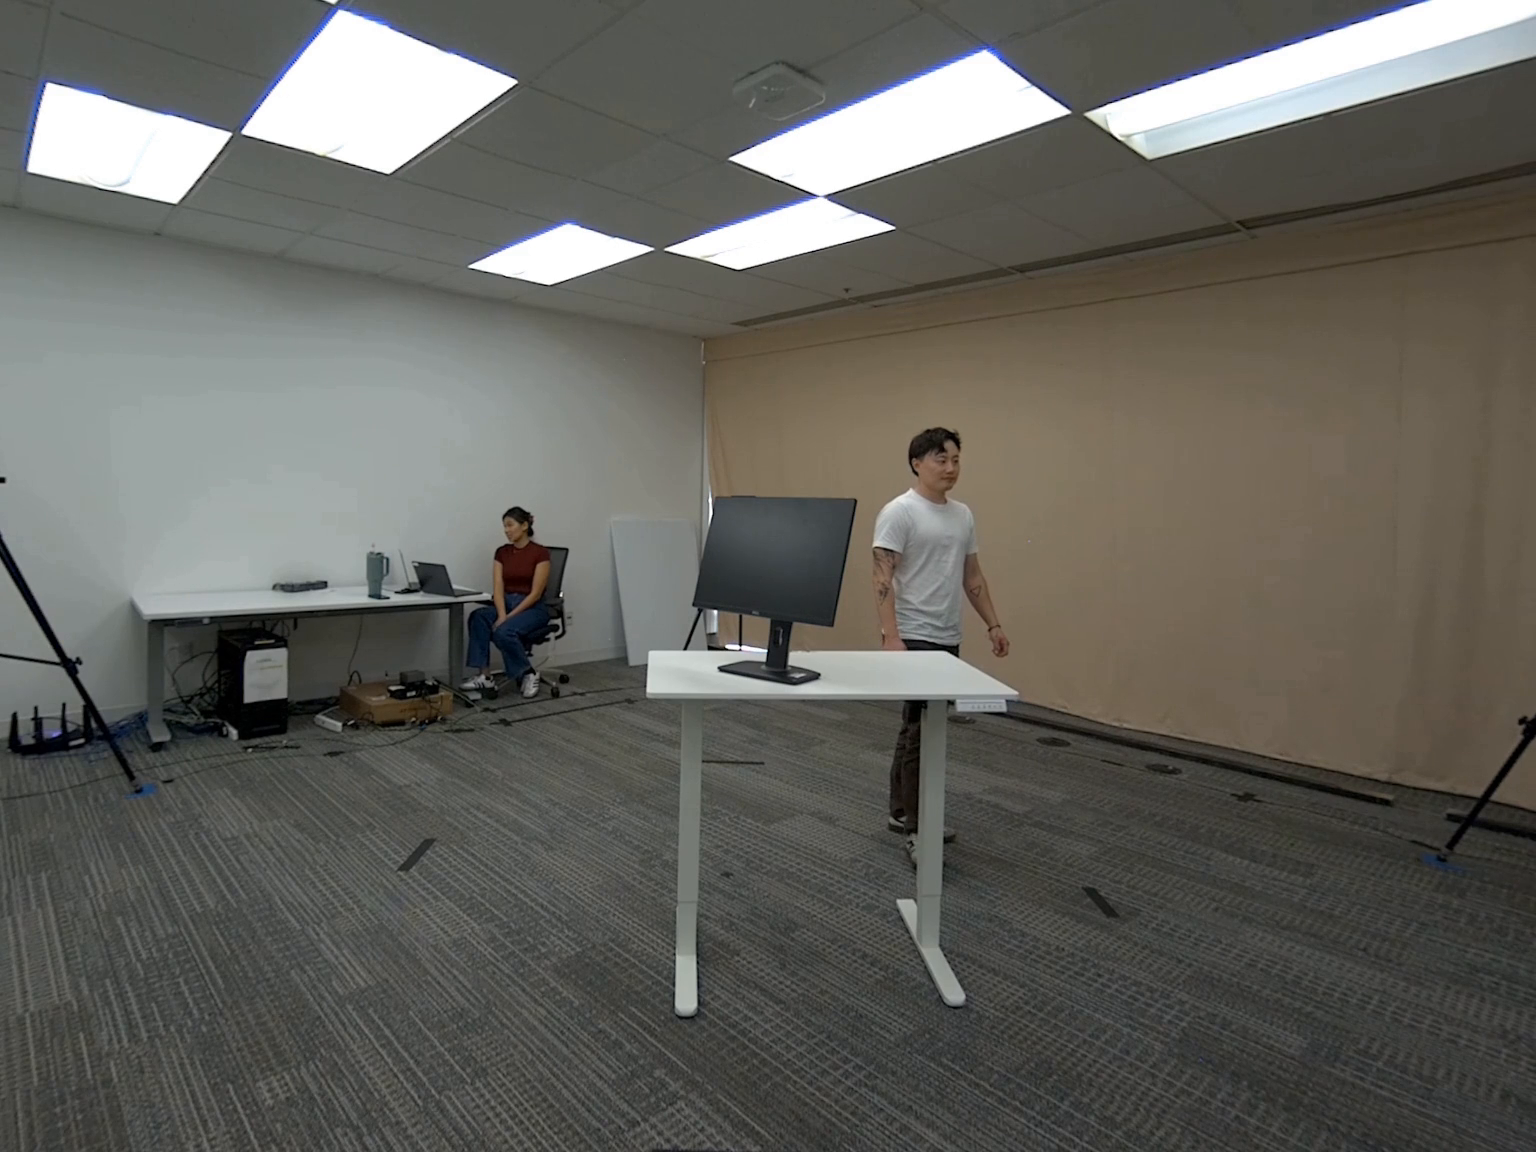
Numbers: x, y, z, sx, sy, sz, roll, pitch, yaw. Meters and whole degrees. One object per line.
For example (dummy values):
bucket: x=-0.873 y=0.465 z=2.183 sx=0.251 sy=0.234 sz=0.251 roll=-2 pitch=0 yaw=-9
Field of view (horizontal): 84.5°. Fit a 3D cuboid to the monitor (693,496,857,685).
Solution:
monitor: x=0.018 y=0.037 z=2.430 sx=0.553 sy=0.522 sz=0.182 roll=5 pitch=2 yaw=41
